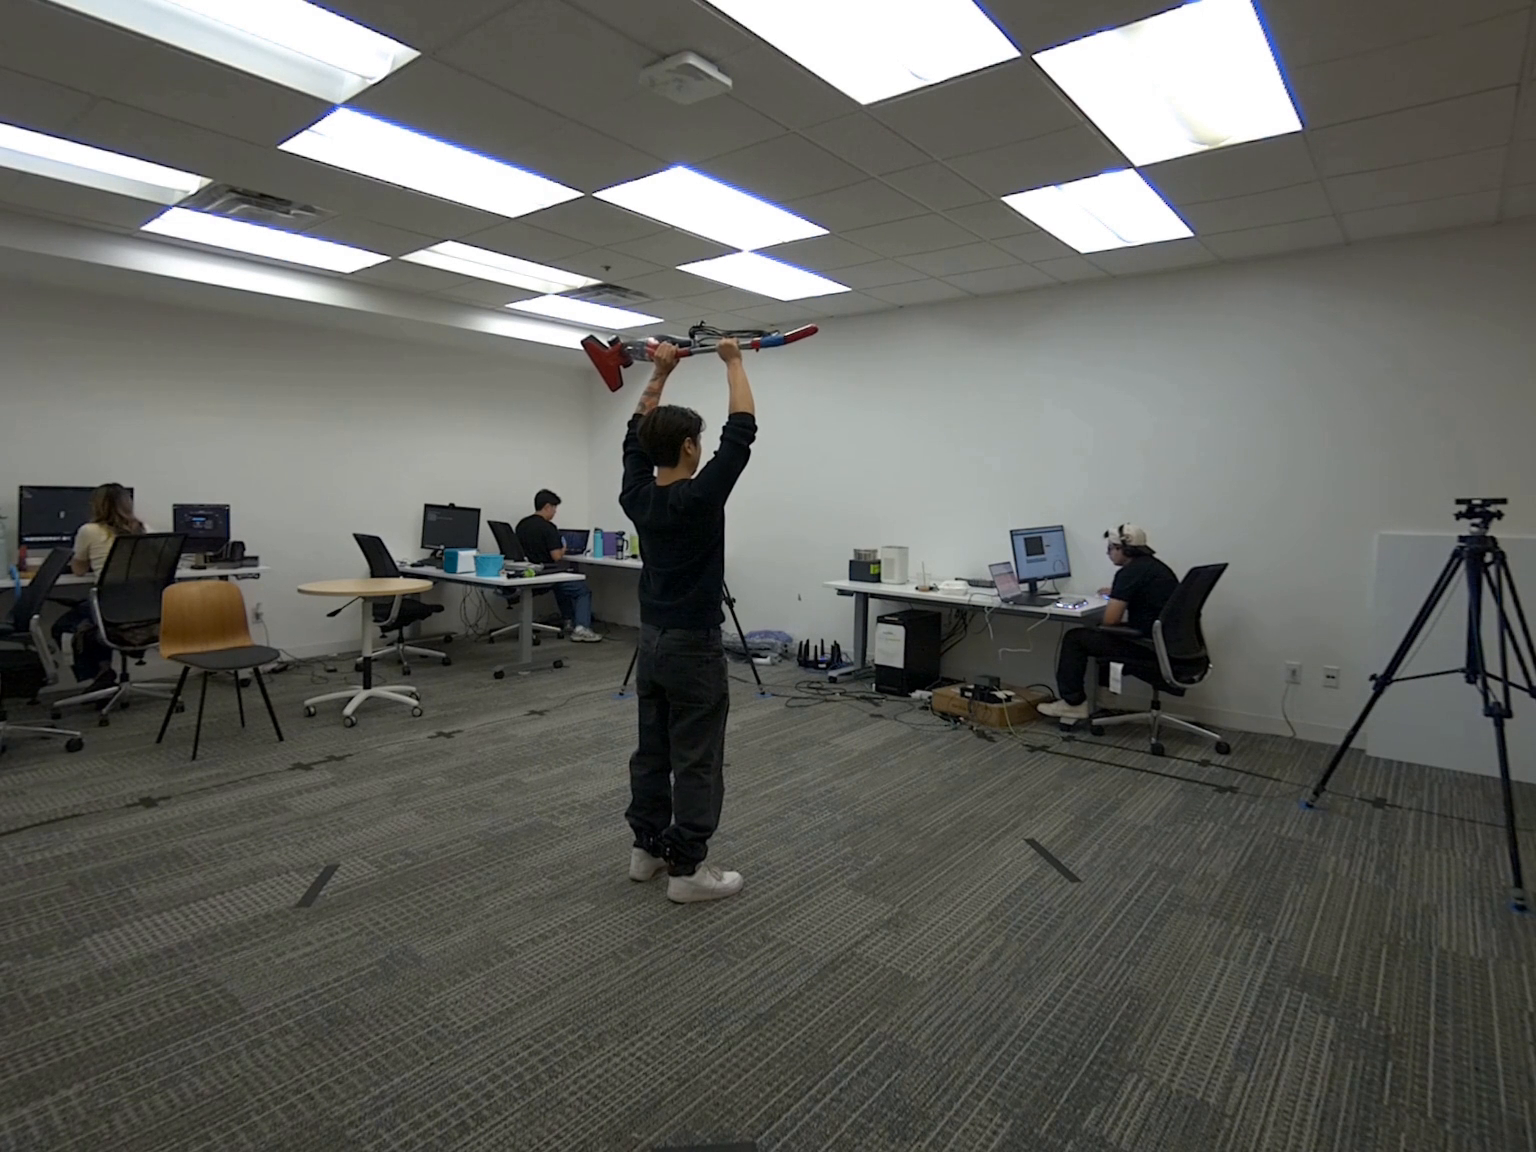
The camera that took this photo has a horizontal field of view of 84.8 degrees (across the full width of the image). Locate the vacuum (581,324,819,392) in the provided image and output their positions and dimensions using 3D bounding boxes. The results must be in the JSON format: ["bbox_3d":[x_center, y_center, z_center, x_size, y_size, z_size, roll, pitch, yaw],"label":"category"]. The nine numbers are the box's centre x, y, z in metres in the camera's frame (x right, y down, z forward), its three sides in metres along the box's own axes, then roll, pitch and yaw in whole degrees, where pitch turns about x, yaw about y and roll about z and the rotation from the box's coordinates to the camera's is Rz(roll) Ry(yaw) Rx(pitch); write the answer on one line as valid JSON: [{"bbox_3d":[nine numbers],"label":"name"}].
[{"bbox_3d":[-0.261,-0.848,3.093,1.085,0.144,0.243,6,-40,42],"label":"vacuum"}]
